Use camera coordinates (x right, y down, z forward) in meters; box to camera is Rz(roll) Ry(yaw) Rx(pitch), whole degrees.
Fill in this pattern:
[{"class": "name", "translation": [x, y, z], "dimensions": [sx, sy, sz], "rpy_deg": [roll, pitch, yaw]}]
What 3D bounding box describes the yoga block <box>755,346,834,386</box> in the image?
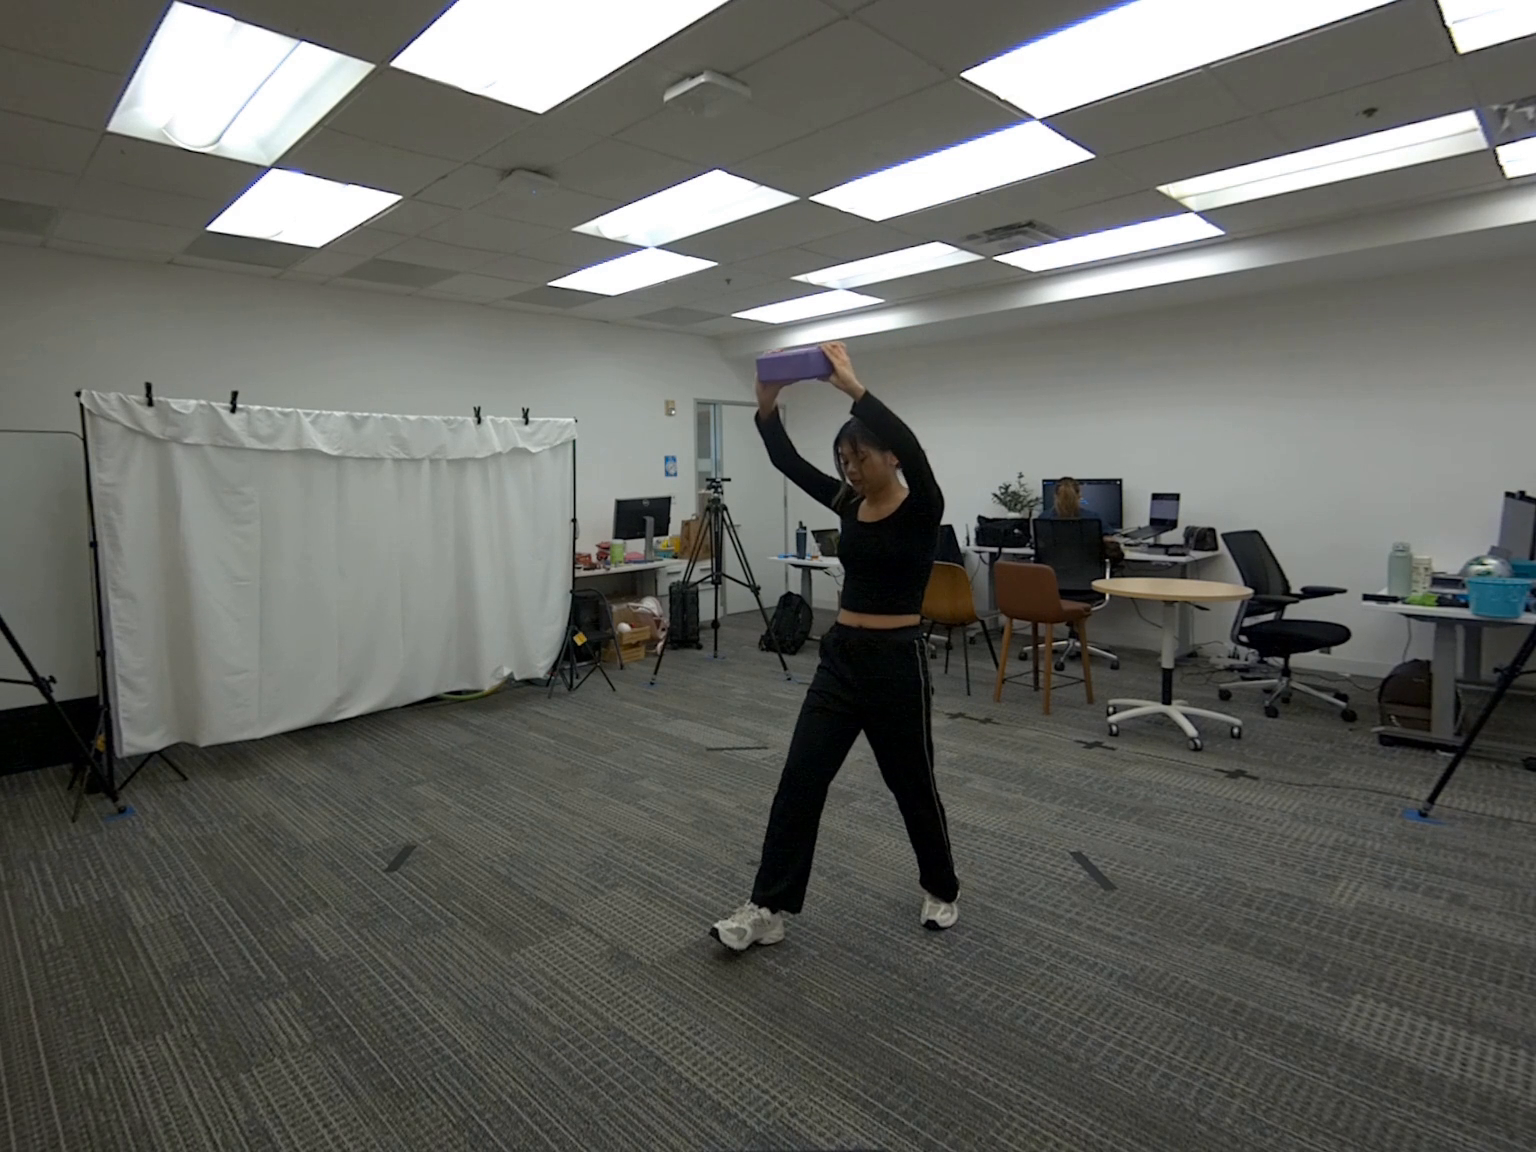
[{"class": "yoga block", "translation": [0.100, -0.582, 2.317], "dimensions": [0.146, 0.075, 0.237], "rpy_deg": [-16, 17, -33]}]
